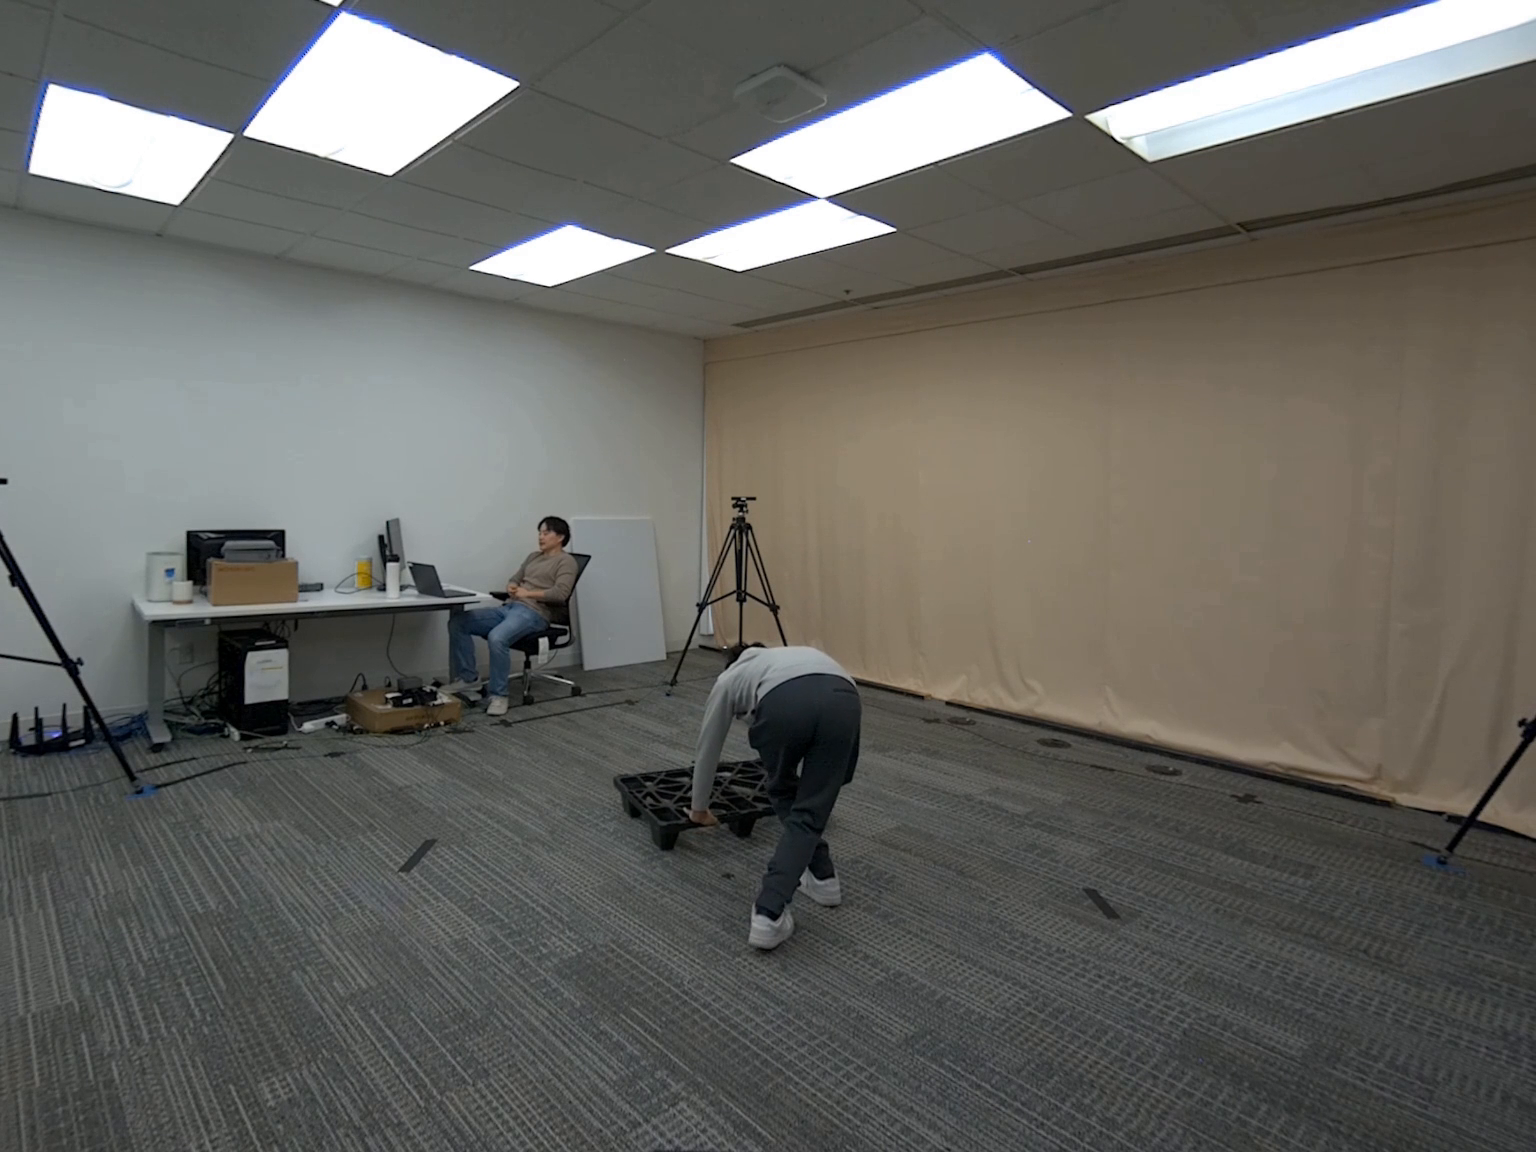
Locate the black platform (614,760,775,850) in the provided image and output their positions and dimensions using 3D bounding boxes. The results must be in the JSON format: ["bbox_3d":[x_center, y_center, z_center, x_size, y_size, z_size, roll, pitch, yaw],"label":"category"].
[{"bbox_3d":[-0.216,0.984,3.675,0.790,0.143,0.618,-1,5,-27],"label":"black platform"}]
